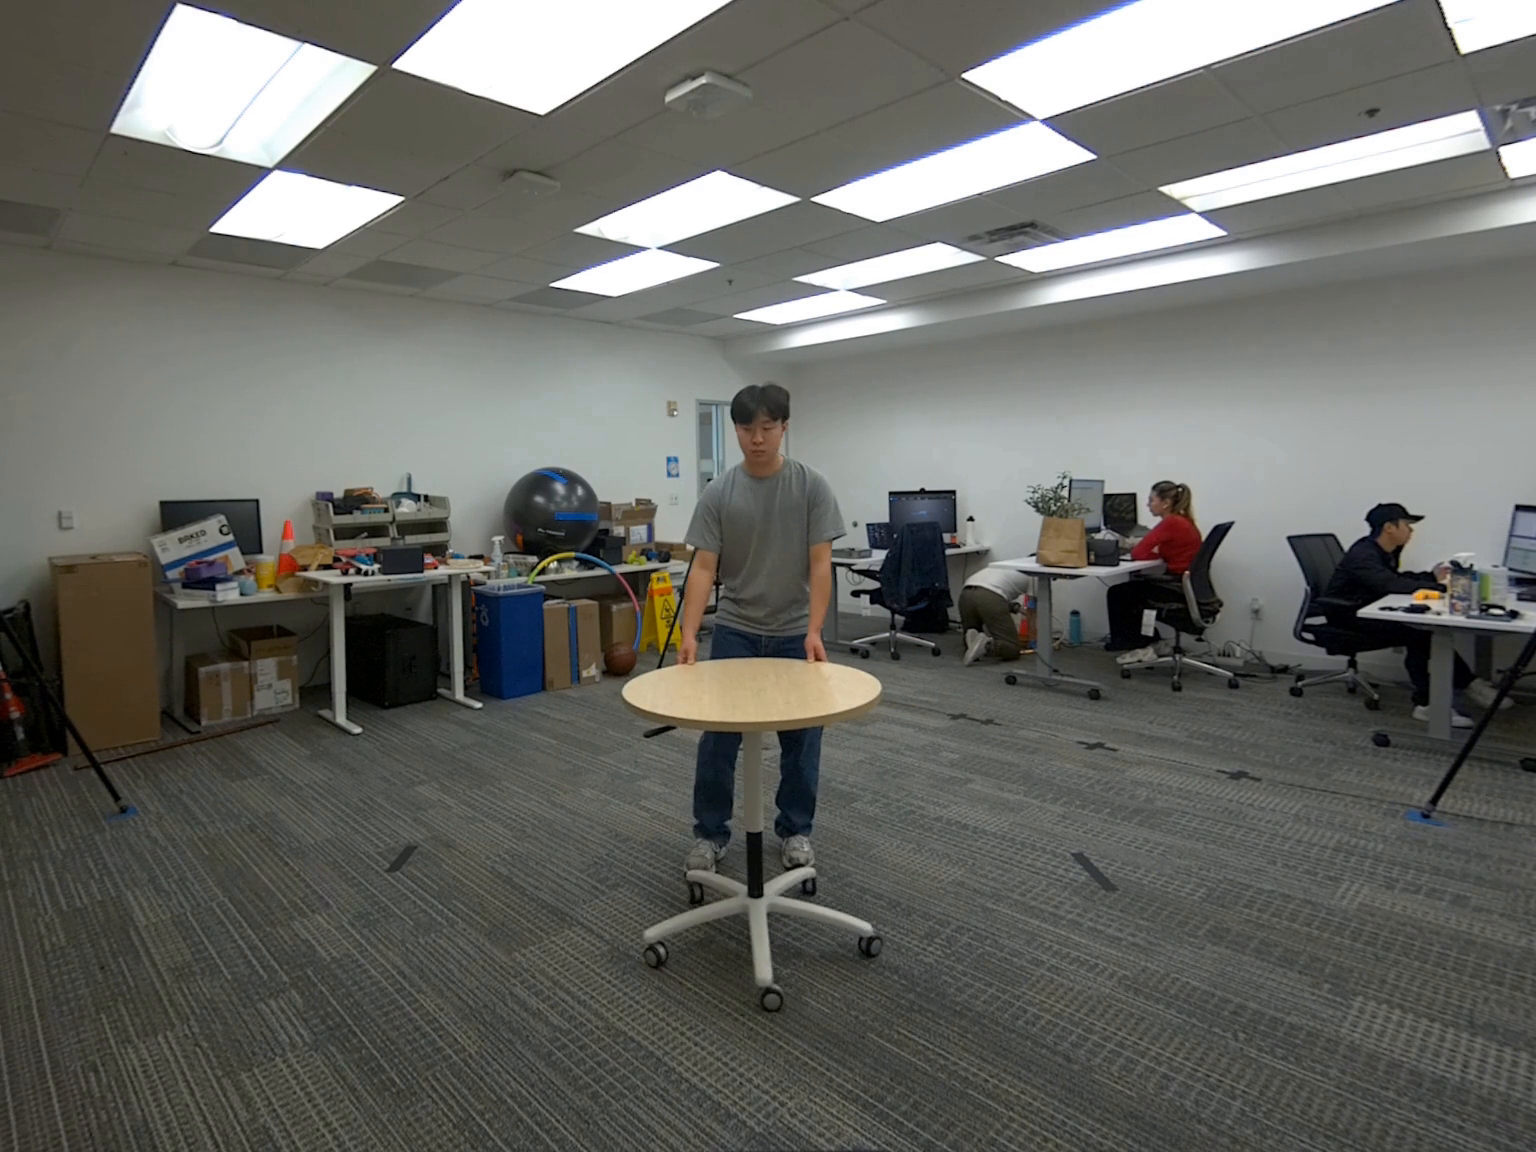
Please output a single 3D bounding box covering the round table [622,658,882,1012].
[{"bbox_3d":[-0.043,0.721,2.573,0.763,0.790,0.768,-1,5,-2],"label":"round table"}]
